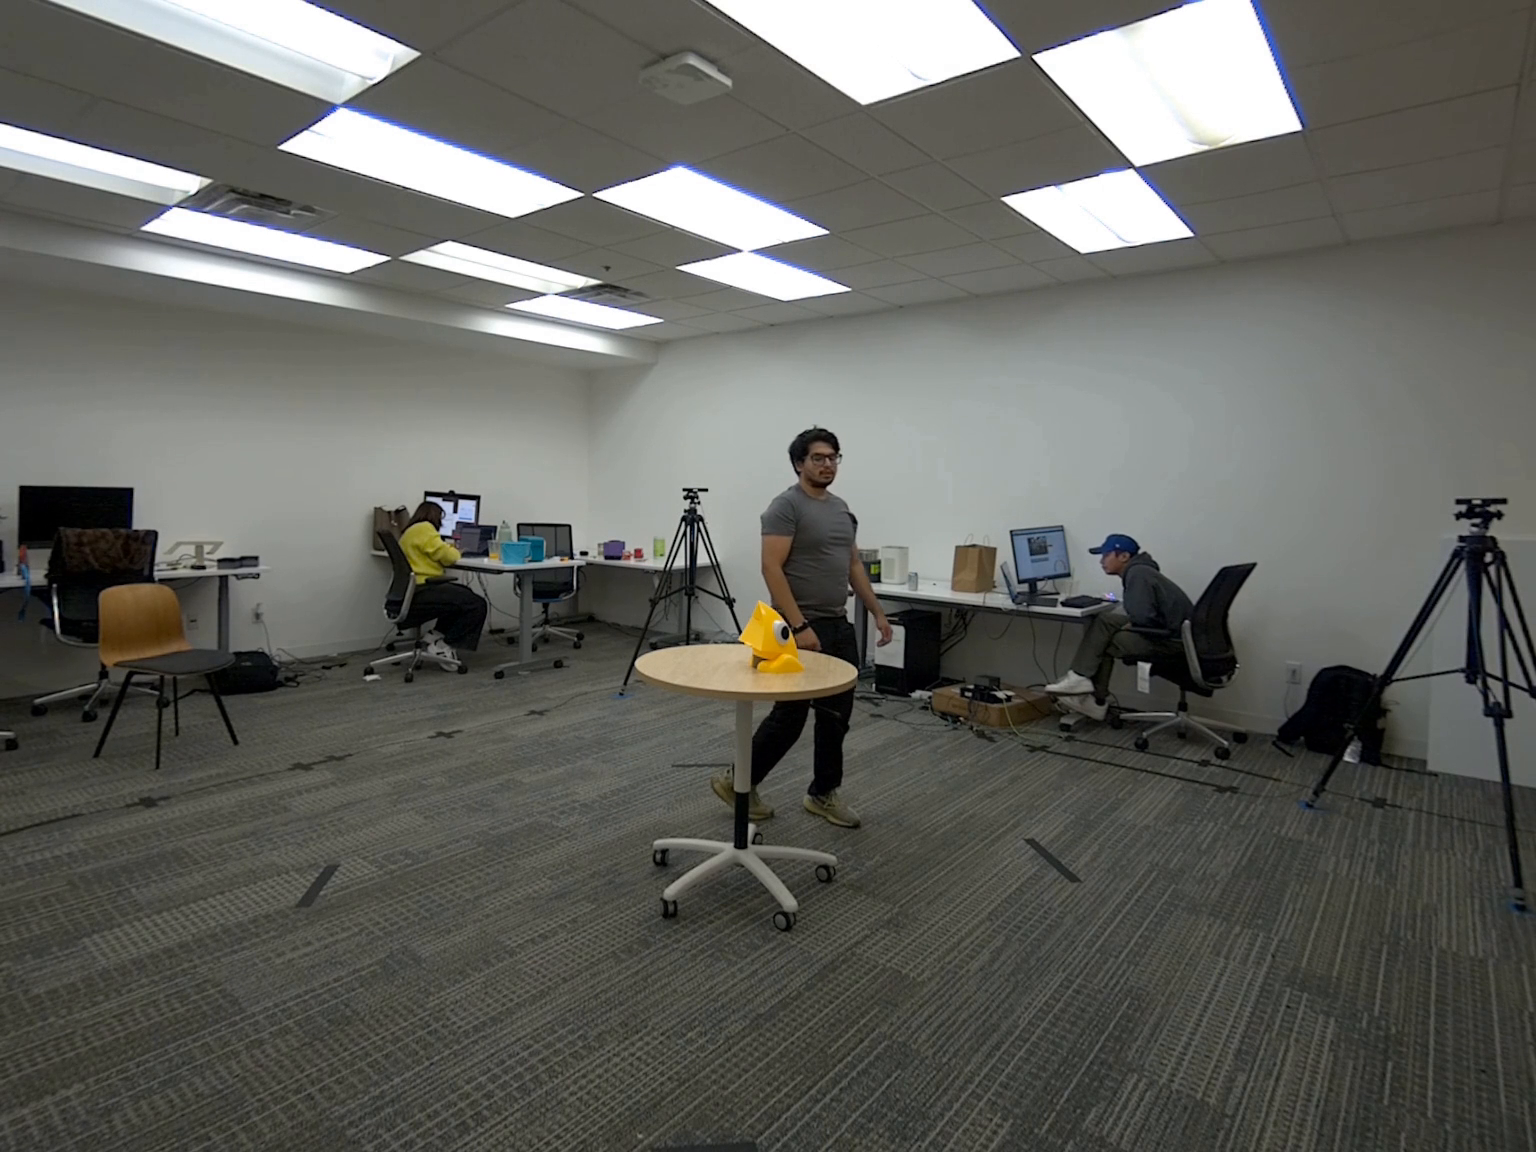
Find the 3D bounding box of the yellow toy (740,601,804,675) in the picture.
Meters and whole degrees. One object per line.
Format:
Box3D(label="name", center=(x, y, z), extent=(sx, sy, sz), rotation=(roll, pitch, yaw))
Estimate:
Box3D(label="yellow toy", center=(0.007, 0.194, 2.925), extent=(0.189, 0.230, 0.210), rotation=(-1, 4, -23))
